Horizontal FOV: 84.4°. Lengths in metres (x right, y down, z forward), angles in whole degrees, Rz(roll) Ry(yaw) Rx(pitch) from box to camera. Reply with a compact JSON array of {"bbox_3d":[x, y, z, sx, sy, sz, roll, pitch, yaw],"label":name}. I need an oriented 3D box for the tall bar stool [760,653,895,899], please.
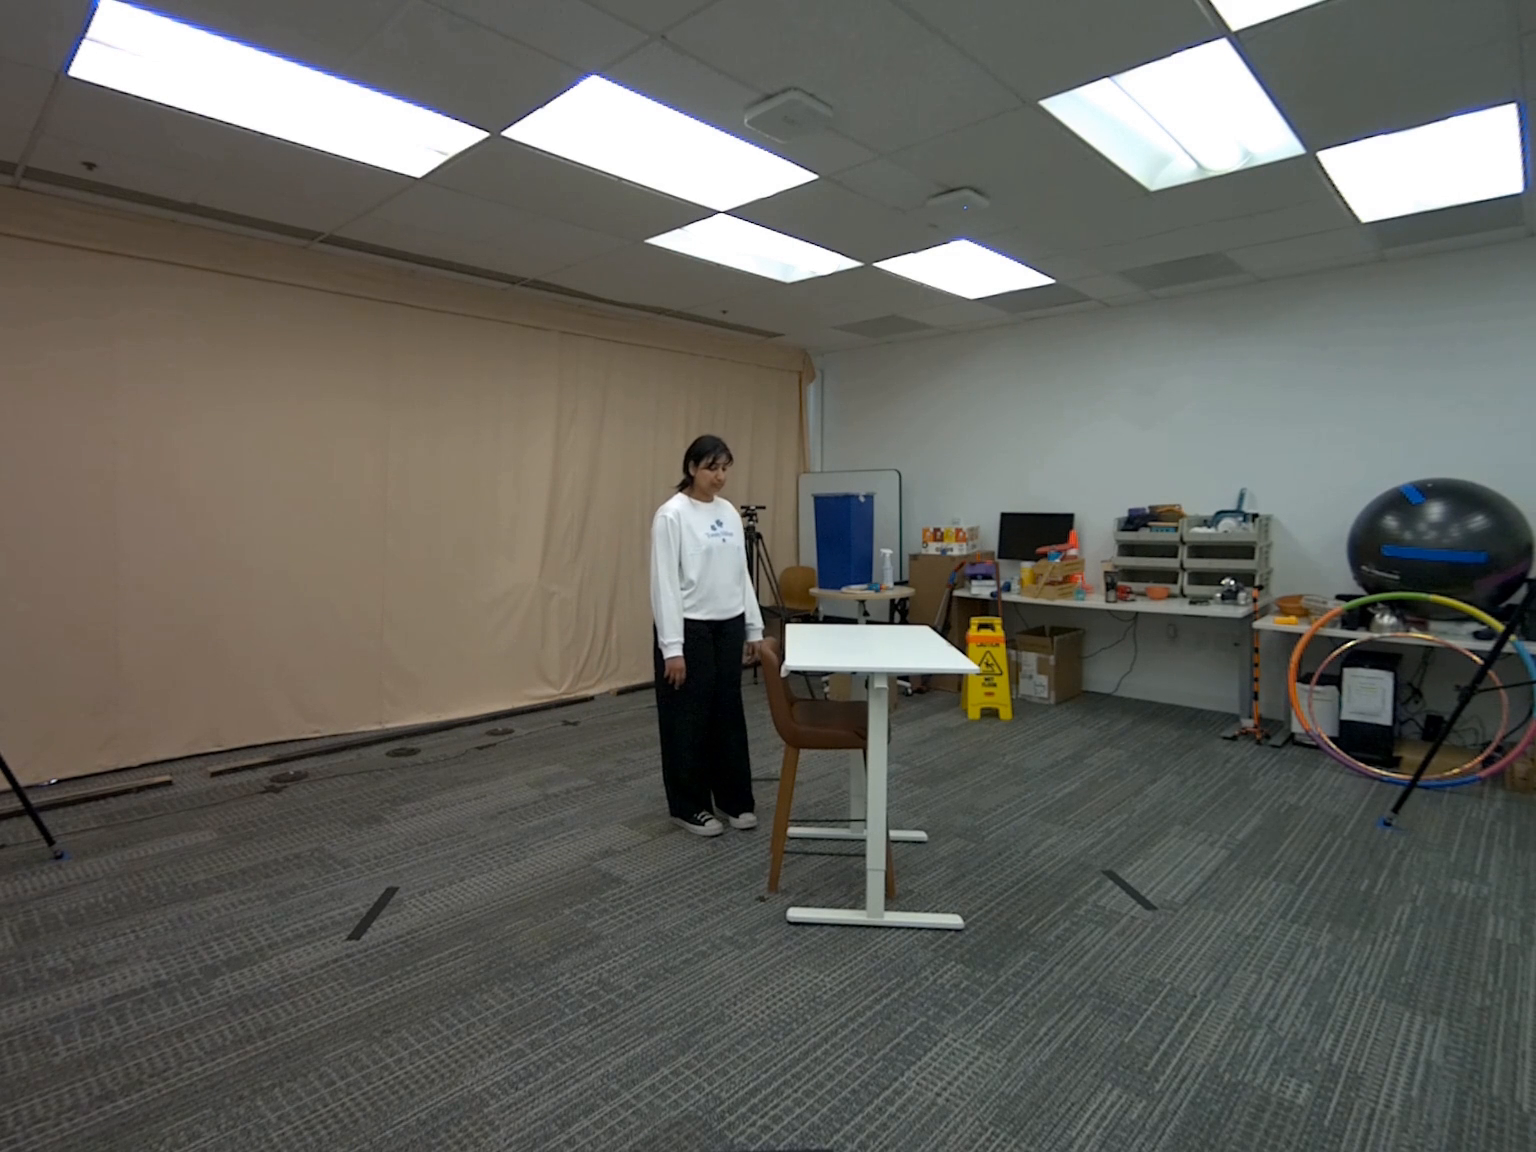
[{"bbox_3d":[0.231,0.696,3.183,0.470,0.888,0.455,-1,2,4],"label":"tall bar stool"}]
